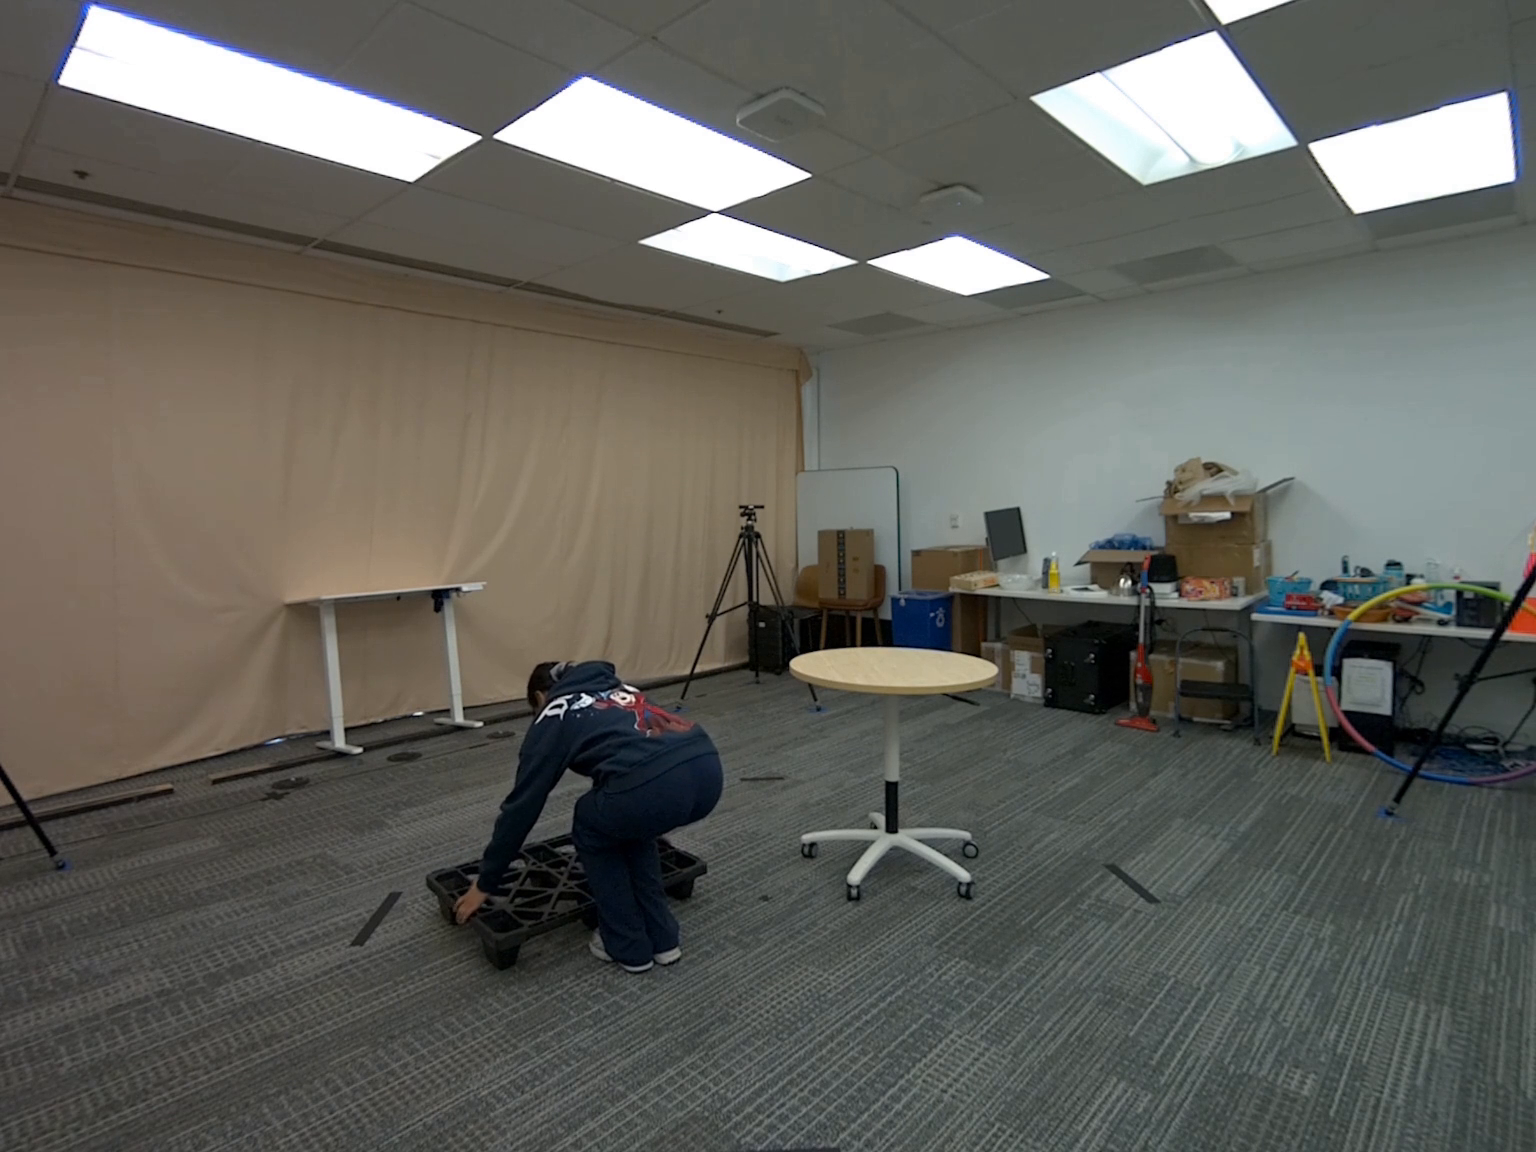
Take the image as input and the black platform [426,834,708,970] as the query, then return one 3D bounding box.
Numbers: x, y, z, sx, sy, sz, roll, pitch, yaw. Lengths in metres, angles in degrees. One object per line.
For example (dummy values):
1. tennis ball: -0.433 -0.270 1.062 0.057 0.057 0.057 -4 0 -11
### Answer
1. black platform: -0.694 1.093 2.950 0.782 0.143 0.625 -6 7 -41
